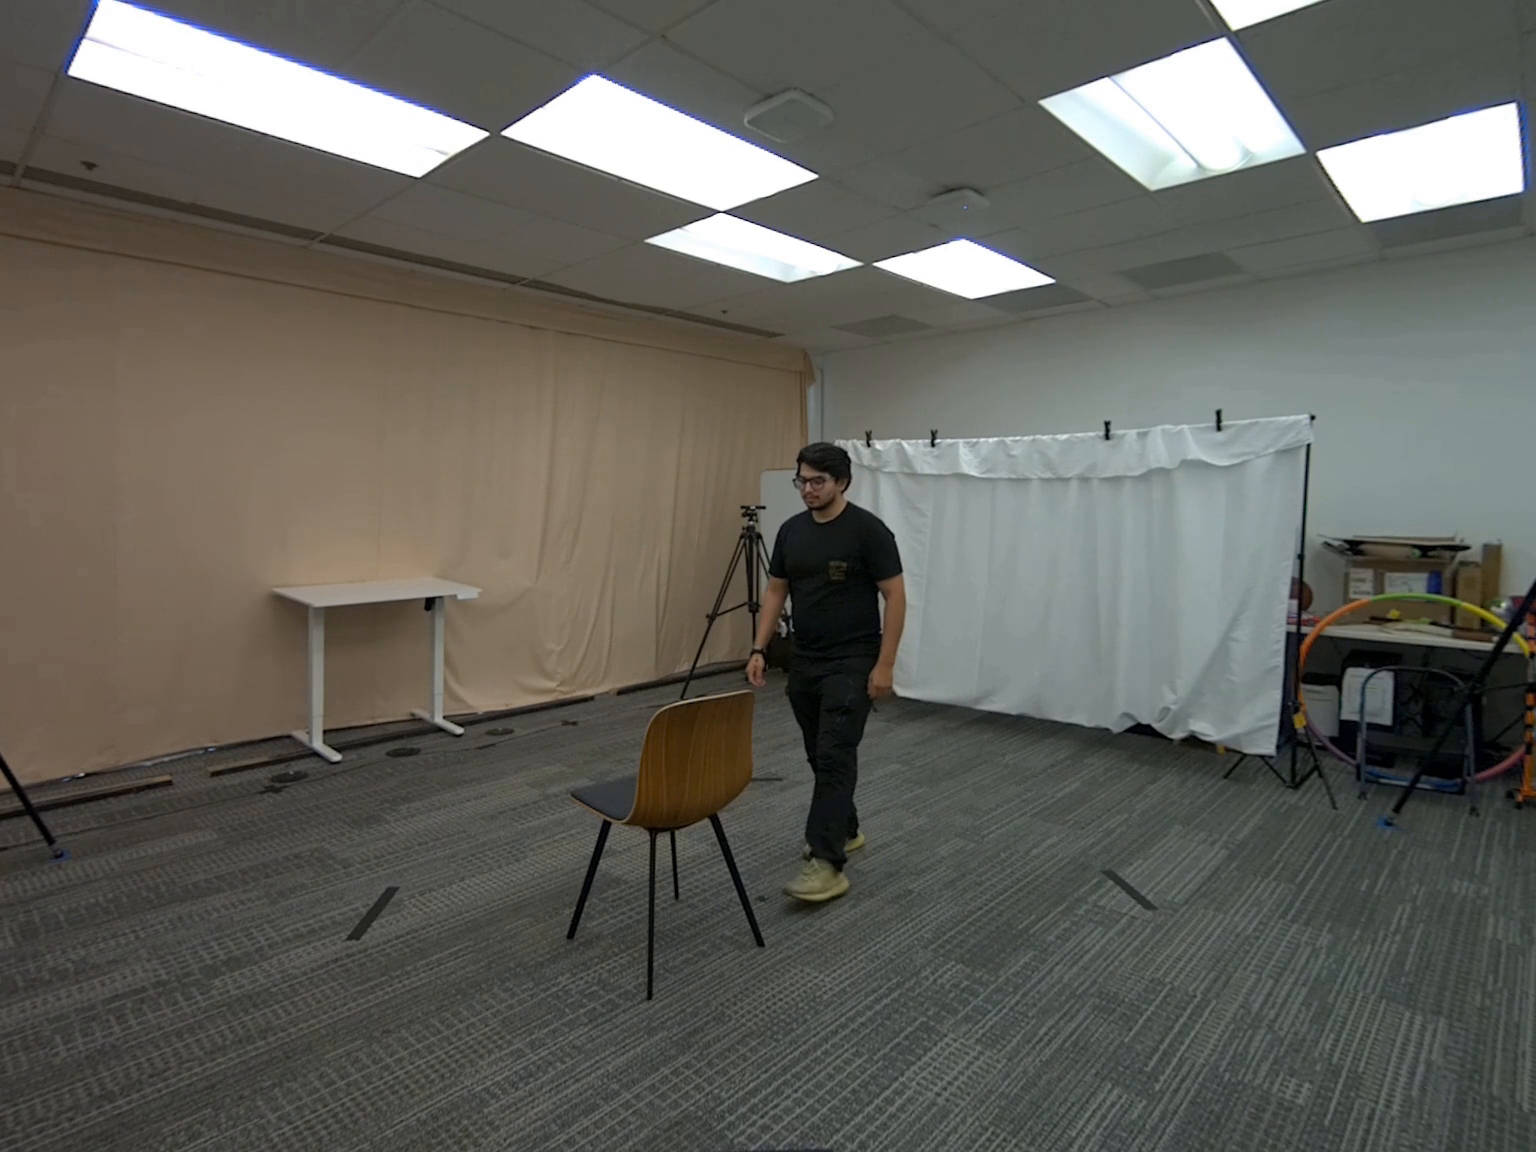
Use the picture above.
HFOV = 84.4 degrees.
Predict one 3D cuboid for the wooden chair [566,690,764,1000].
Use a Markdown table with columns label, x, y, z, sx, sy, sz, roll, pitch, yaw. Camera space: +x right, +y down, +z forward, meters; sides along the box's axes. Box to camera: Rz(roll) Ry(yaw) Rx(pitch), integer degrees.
| label | x | y | z | sx | sy | sz | roll | pitch | yaw |
| --- | --- | --- | --- | --- | --- | --- | --- | --- | --- |
| wooden chair | -0.335 | 0.743 | 2.666 | 0.463 | 0.874 | 0.541 | -3 | 9 | -42 |
